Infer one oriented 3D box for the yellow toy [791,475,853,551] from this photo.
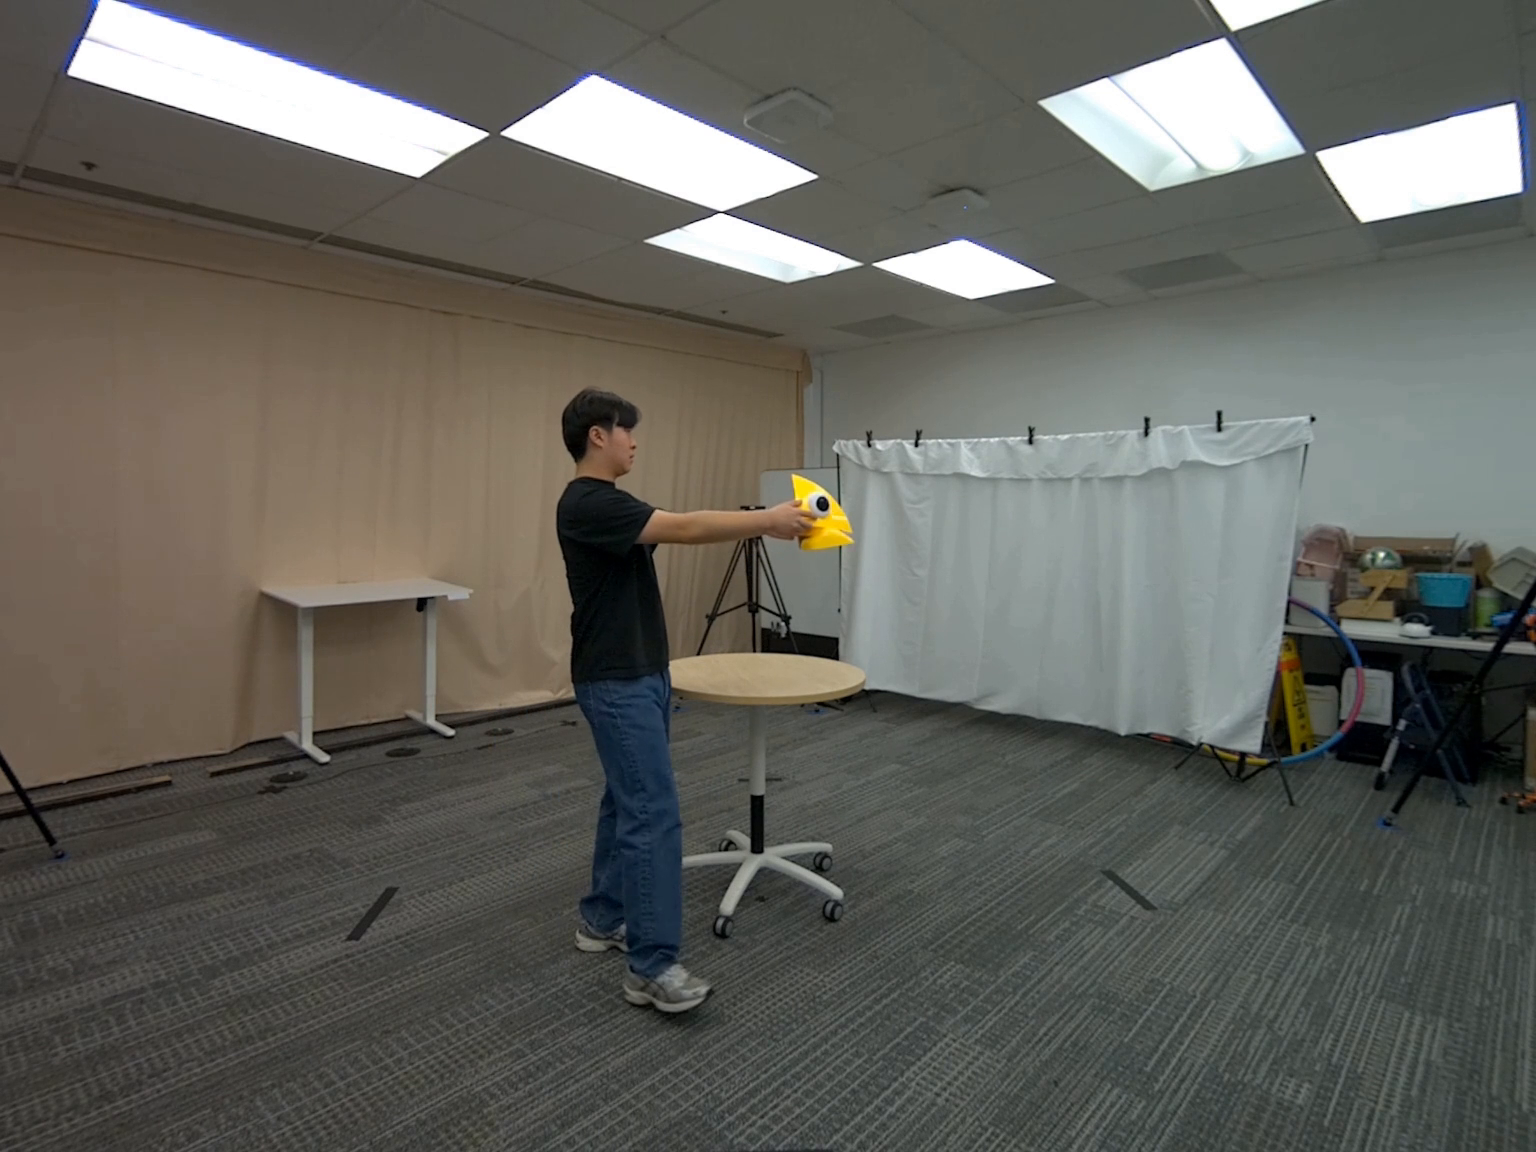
[{"bbox_3d":[0.156,-0.208,2.571,0.193,0.230,0.205,-8,4,1],"label":"yellow toy"}]
